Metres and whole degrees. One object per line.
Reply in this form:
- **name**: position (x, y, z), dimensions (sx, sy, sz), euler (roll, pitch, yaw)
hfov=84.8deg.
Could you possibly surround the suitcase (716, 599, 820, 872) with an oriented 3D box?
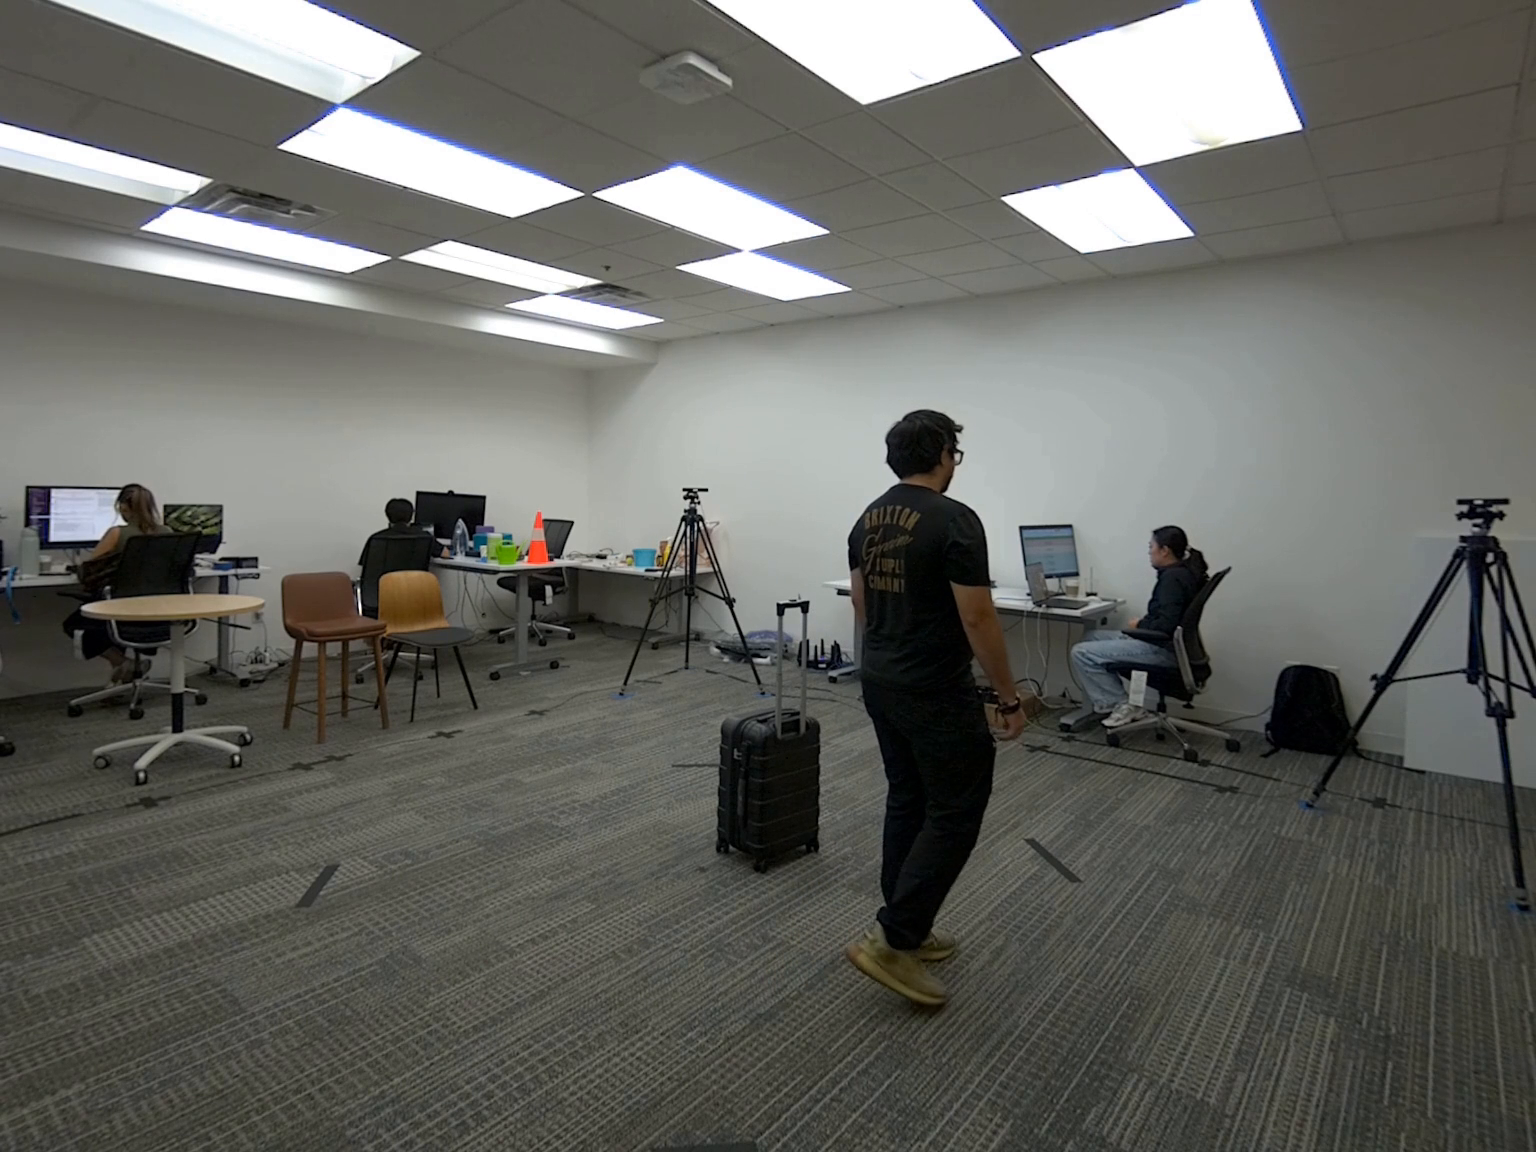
- **suitcase**: position (-0.001, 0.581, 3.242), dimensions (0.372, 0.976, 0.266), euler (-1, 3, -42)
